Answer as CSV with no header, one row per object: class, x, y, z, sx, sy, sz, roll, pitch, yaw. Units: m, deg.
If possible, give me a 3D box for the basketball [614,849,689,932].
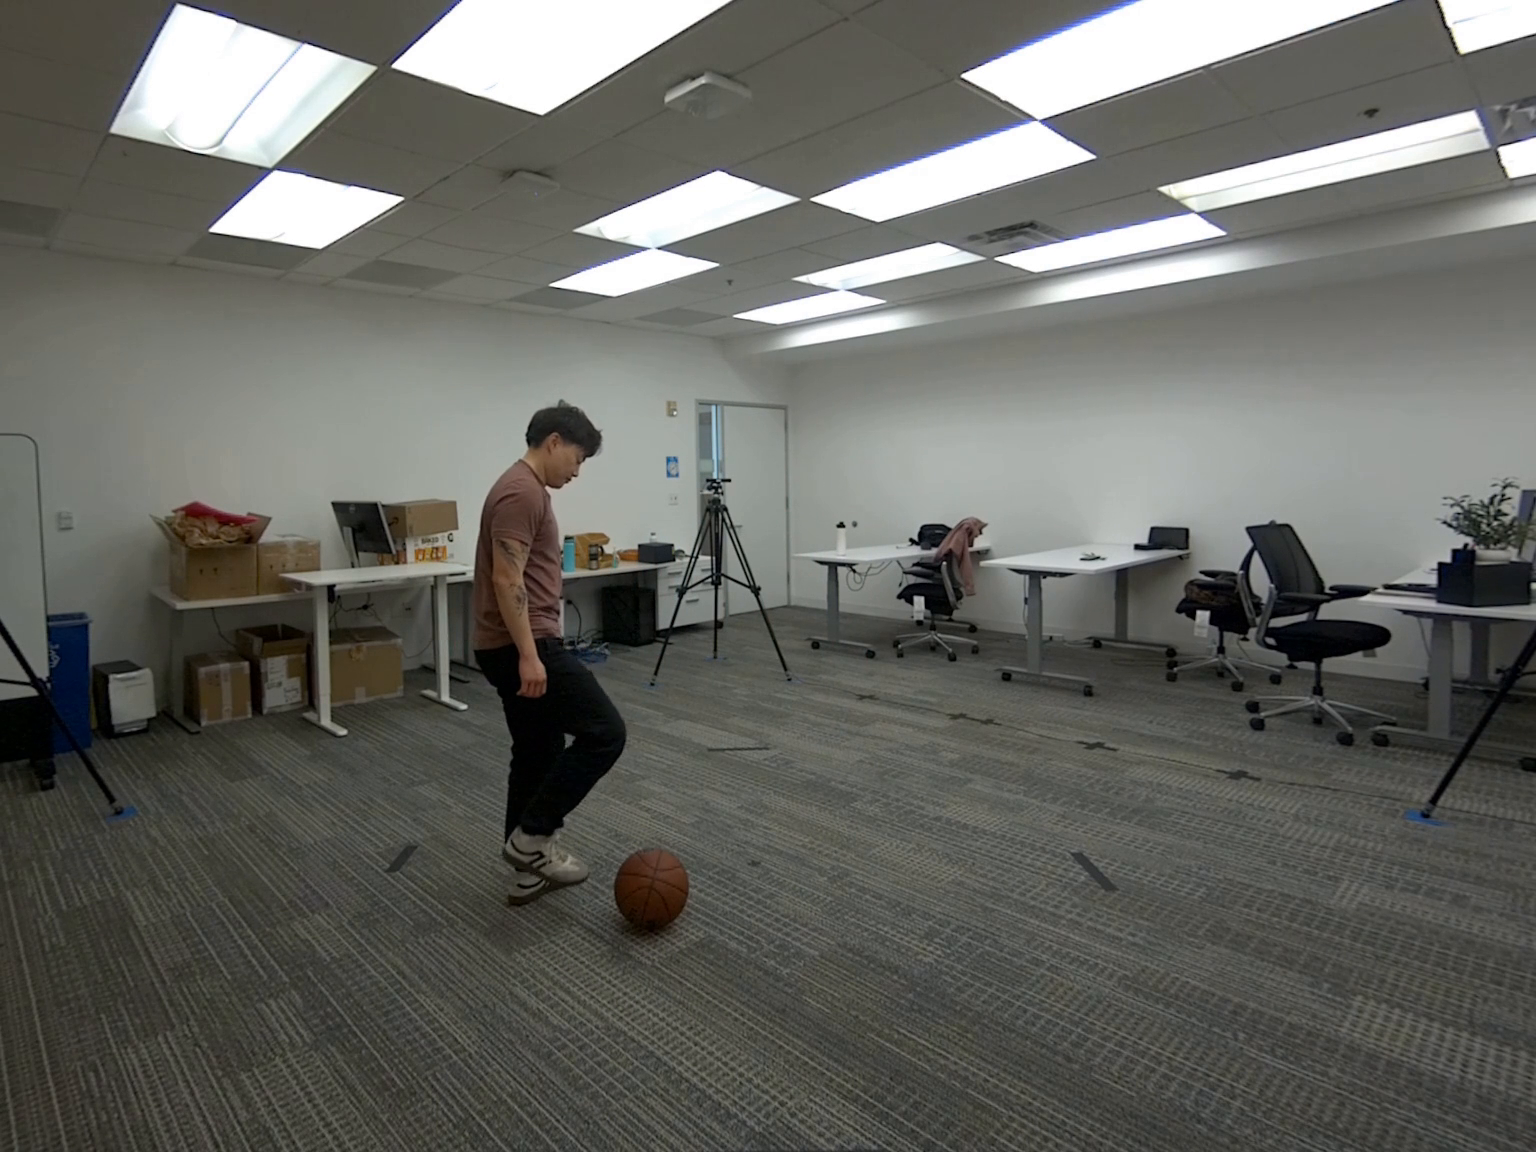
basketball,-0.365,0.979,2.683,0.236,0.235,0.237,-1,5,-2
